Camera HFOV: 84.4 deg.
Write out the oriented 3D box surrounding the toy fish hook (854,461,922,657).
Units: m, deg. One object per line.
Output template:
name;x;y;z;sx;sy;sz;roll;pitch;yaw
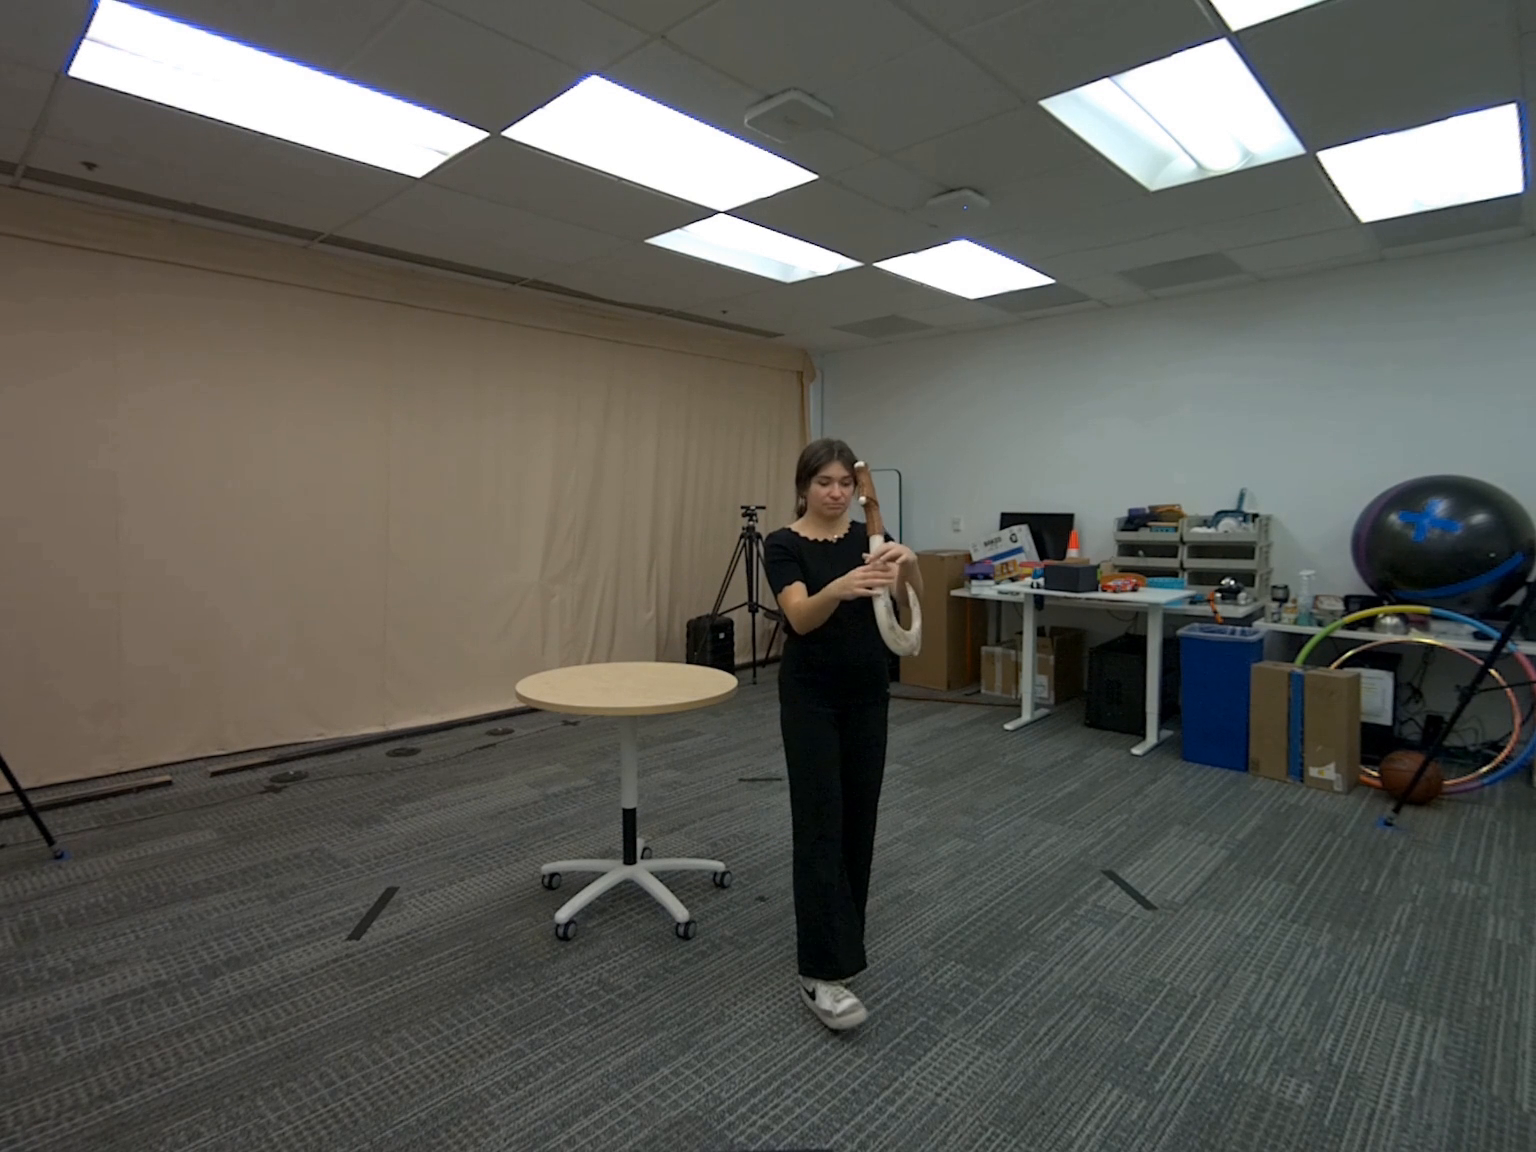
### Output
toy fish hook;0.311;-0.043;2.159;0.049;0.512;0.217;-15;-16;28
